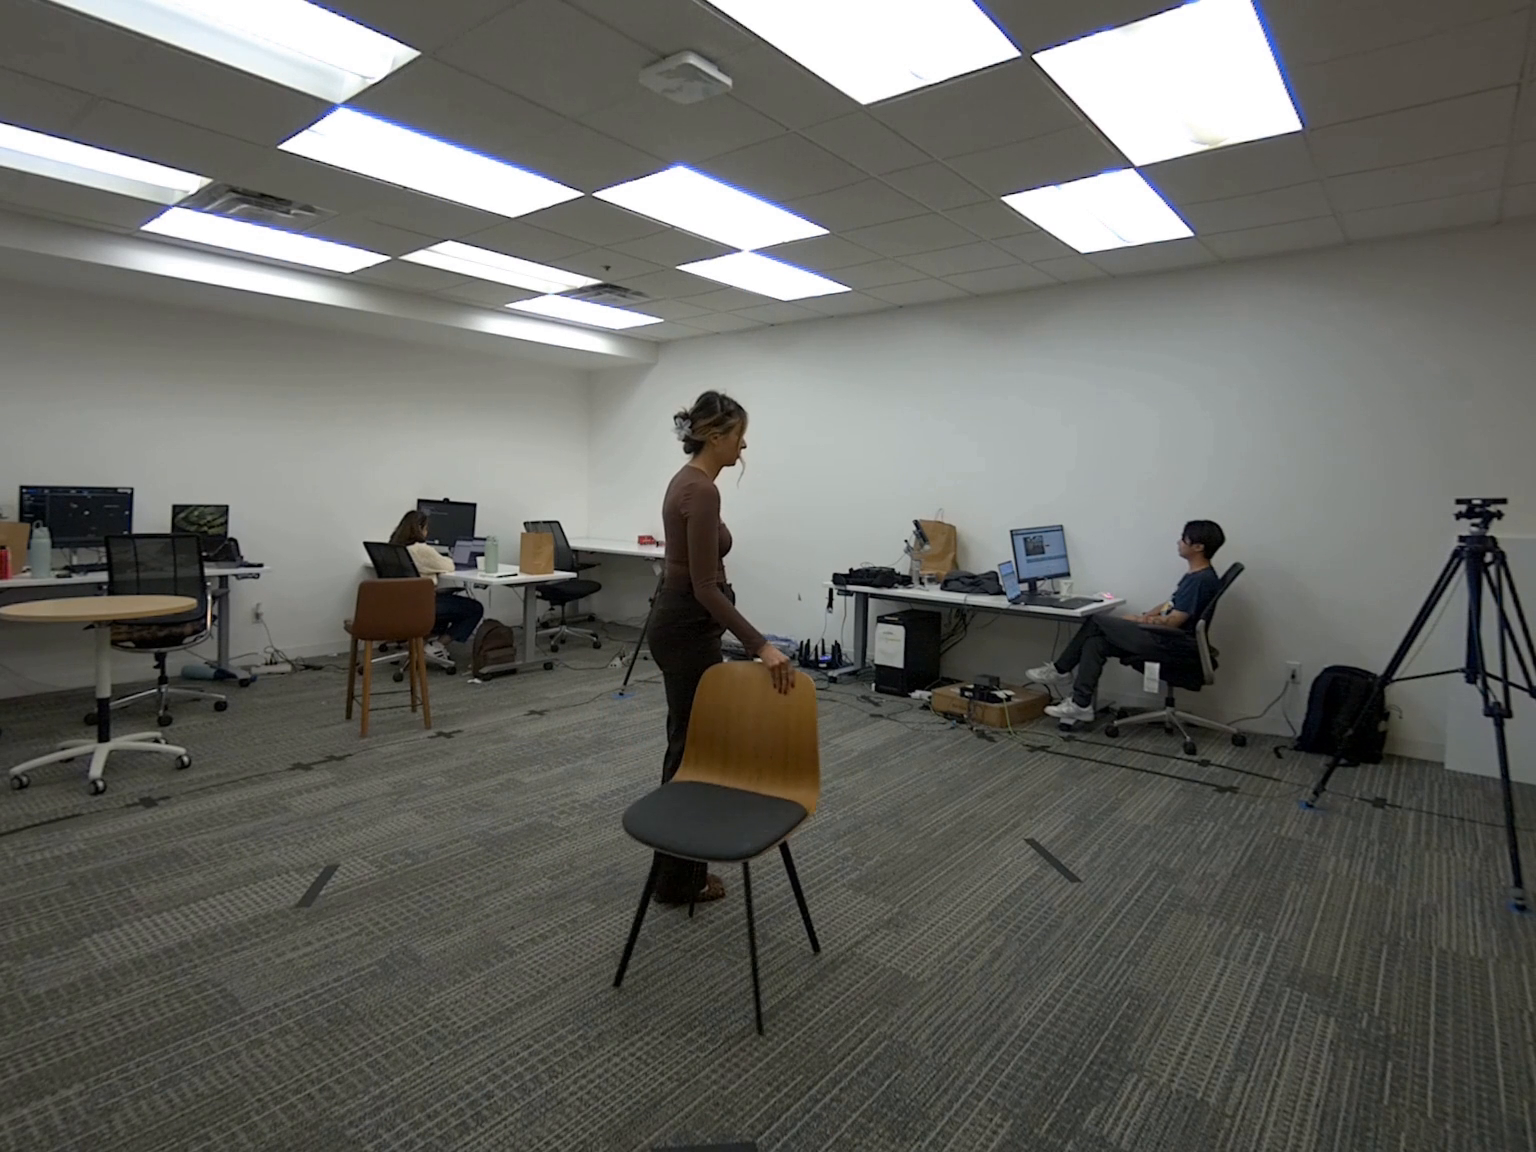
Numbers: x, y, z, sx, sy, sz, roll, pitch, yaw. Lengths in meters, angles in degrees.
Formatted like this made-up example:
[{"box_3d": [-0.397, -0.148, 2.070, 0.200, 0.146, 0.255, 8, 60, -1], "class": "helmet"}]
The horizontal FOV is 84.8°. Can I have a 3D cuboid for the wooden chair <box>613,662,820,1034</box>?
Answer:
[{"box_3d": [-0.134, 0.708, 2.438, 0.491, 0.878, 0.509, 3, 0, 25], "class": "wooden chair"}]
